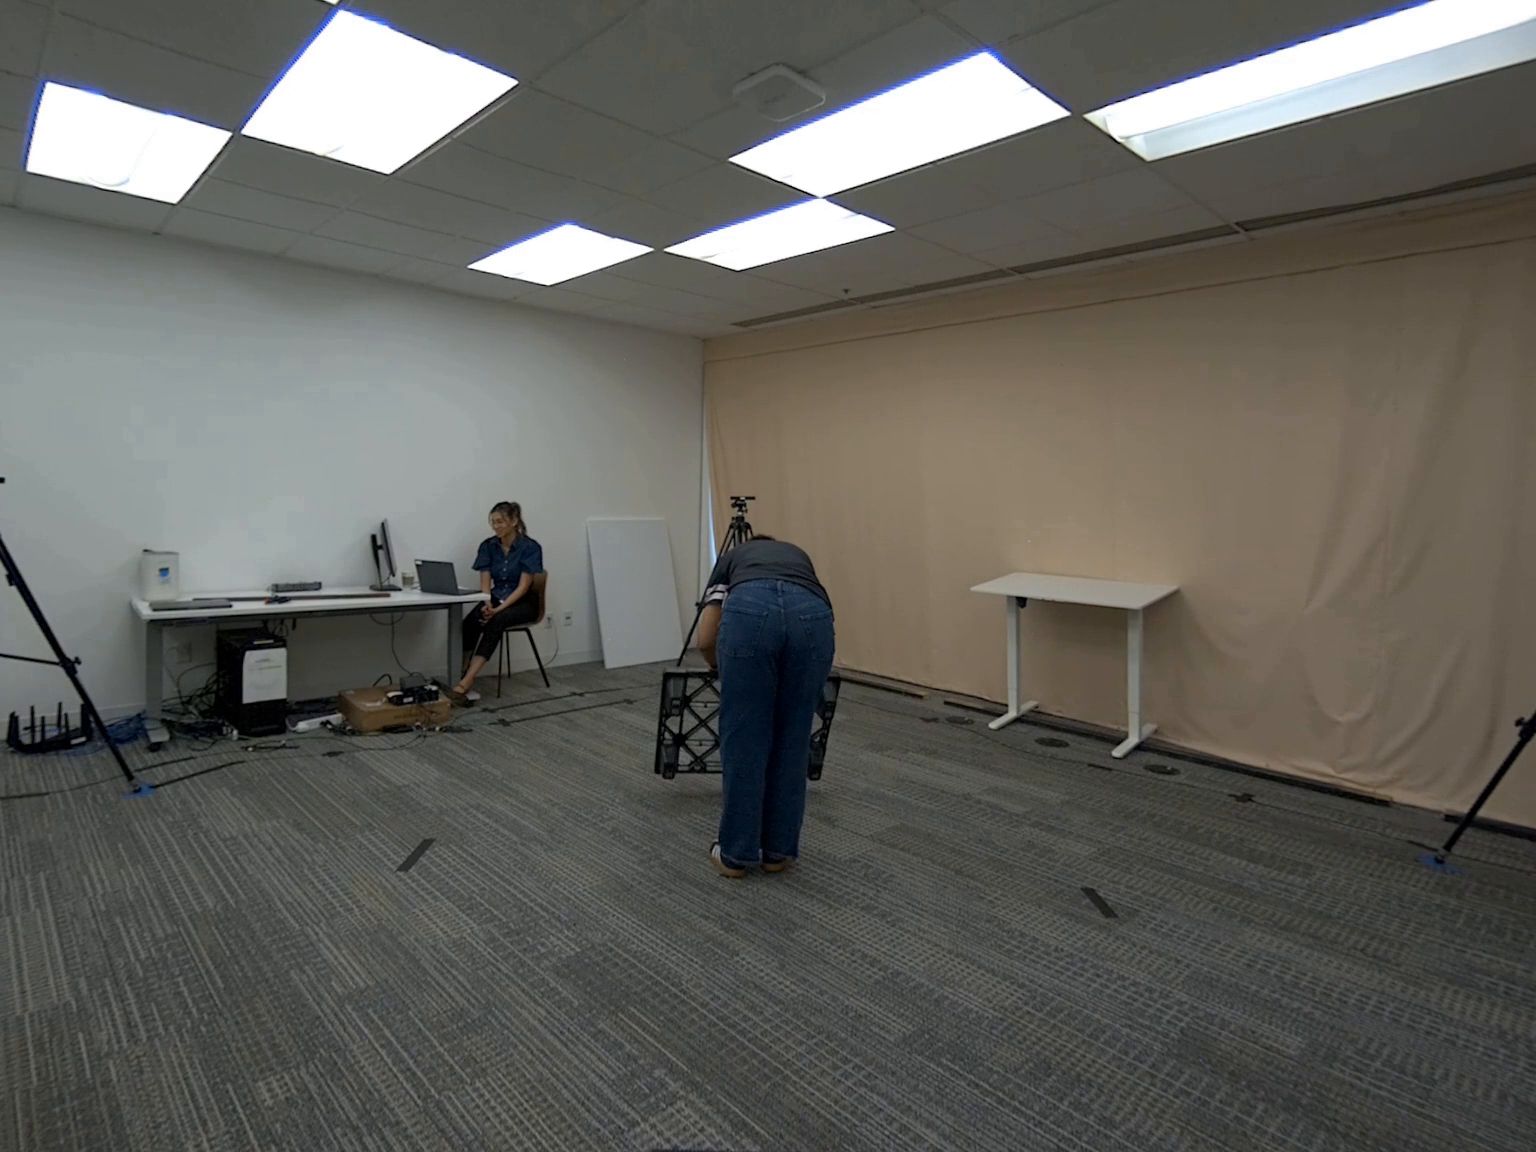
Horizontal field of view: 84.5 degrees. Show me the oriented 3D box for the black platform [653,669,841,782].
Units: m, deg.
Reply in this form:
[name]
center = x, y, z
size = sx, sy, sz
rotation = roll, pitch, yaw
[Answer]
[black platform]
center = -0.110, 0.711, 3.813
size = 0.800, 0.596, 0.146
rotation = 2, 27, -8
